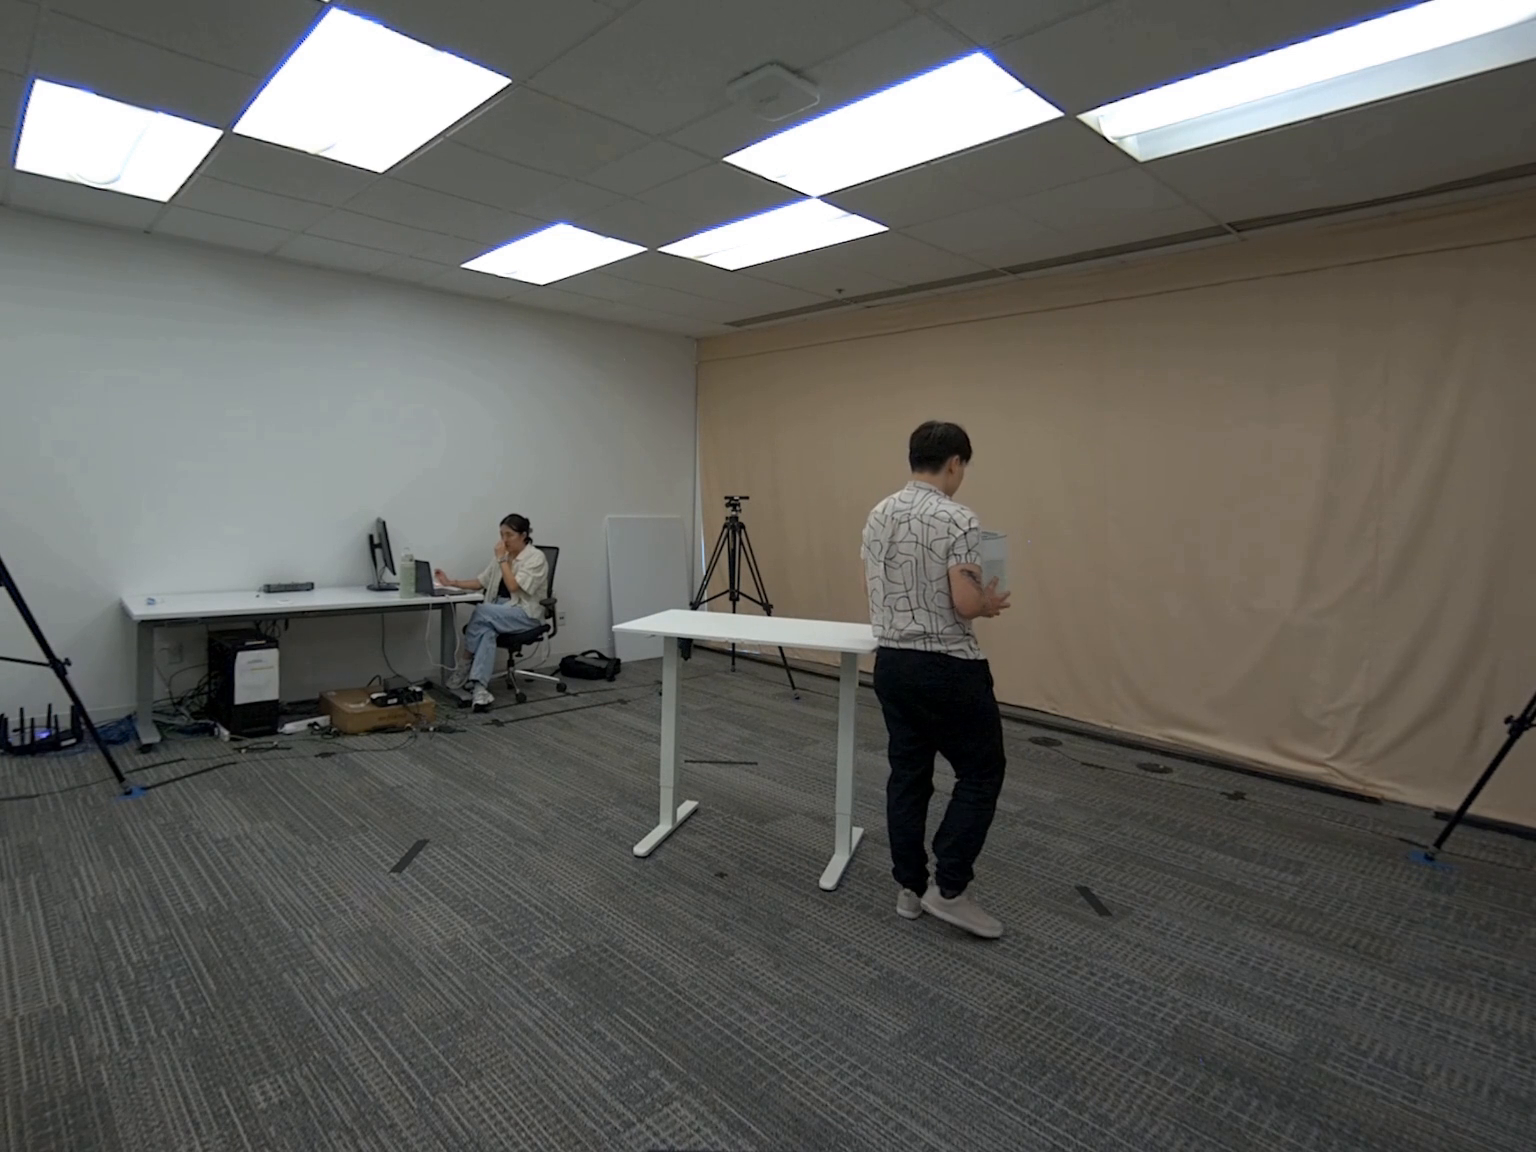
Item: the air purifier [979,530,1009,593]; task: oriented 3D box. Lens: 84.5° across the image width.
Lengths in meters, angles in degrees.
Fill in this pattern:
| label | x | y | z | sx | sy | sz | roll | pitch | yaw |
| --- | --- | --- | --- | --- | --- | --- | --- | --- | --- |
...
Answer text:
| label | x | y | z | sx | sy | sz | roll | pitch | yaw |
| --- | --- | --- | --- | --- | --- | --- | --- | --- | --- |
| air purifier | 0.726 | -0.014 | 2.919 | 0.168 | 0.263 | 0.175 | -7 | 13 | -28 |
